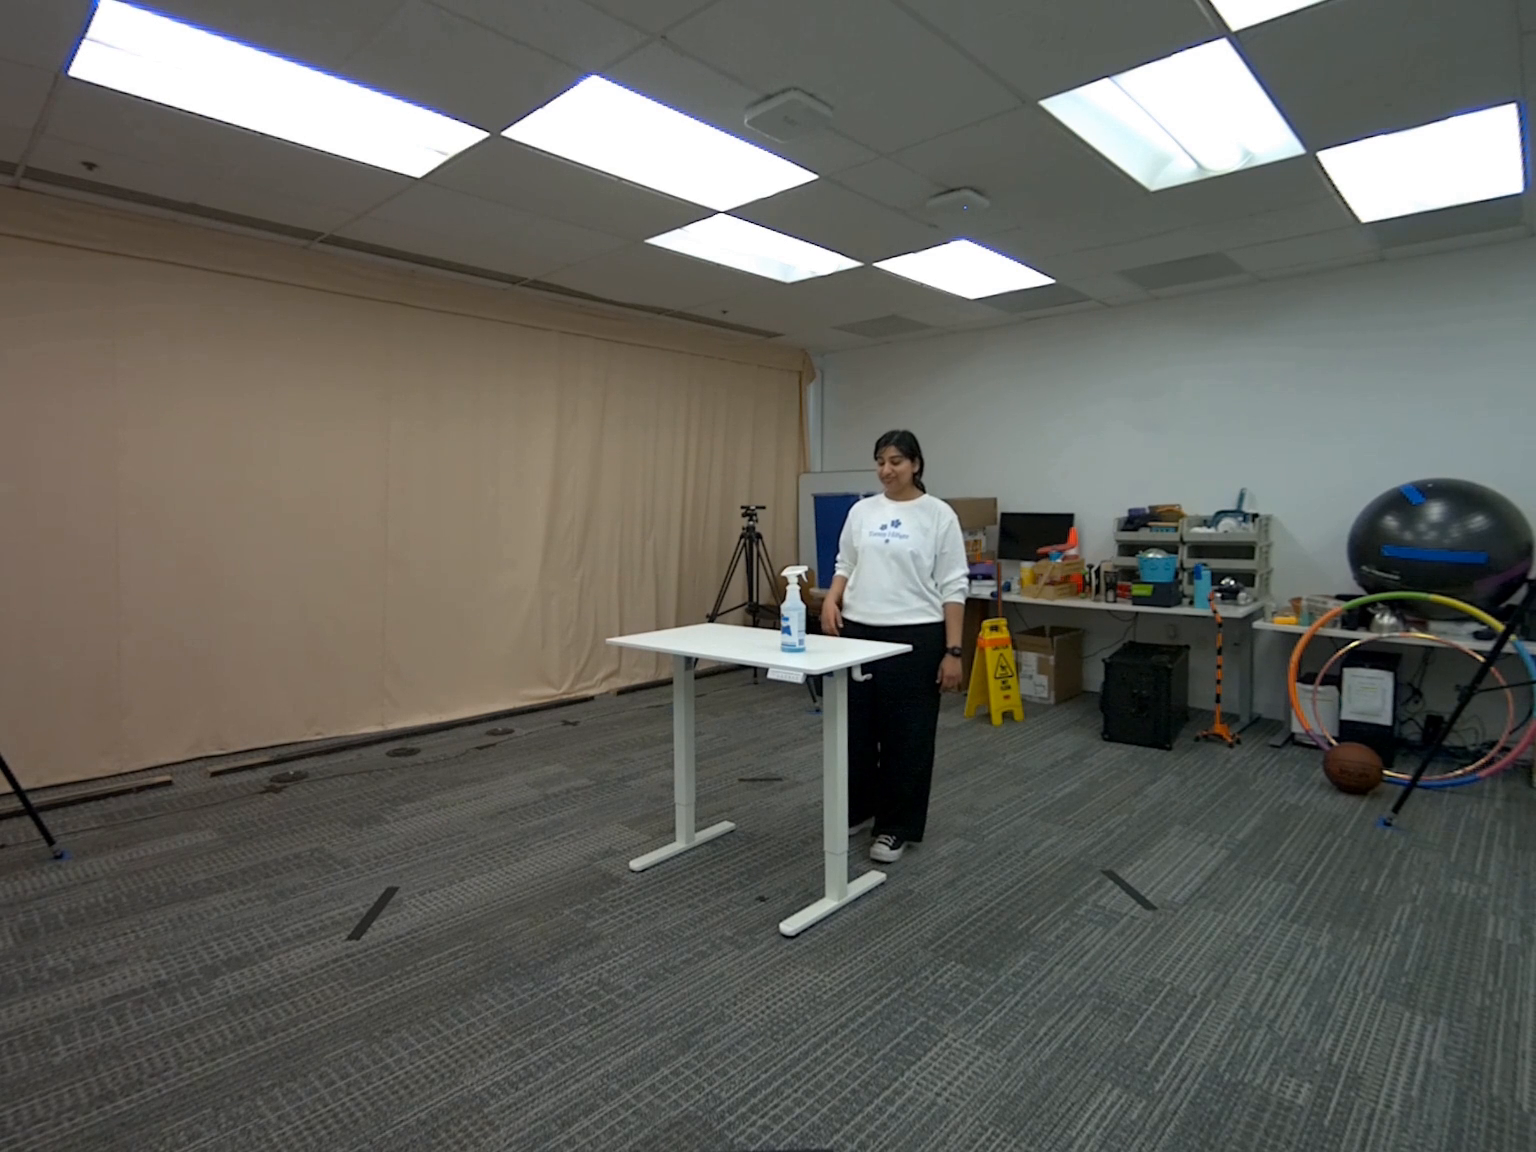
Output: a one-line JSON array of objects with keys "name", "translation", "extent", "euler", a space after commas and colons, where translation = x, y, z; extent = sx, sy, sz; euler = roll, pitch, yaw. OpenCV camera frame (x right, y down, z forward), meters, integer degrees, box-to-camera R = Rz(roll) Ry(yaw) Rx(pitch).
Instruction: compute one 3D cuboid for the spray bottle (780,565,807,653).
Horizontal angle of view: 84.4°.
[{"name": "spray bottle", "translation": [0.097, 0.117, 2.938], "extent": [0.092, 0.297, 0.085], "euler": [1, 4, 24]}]
